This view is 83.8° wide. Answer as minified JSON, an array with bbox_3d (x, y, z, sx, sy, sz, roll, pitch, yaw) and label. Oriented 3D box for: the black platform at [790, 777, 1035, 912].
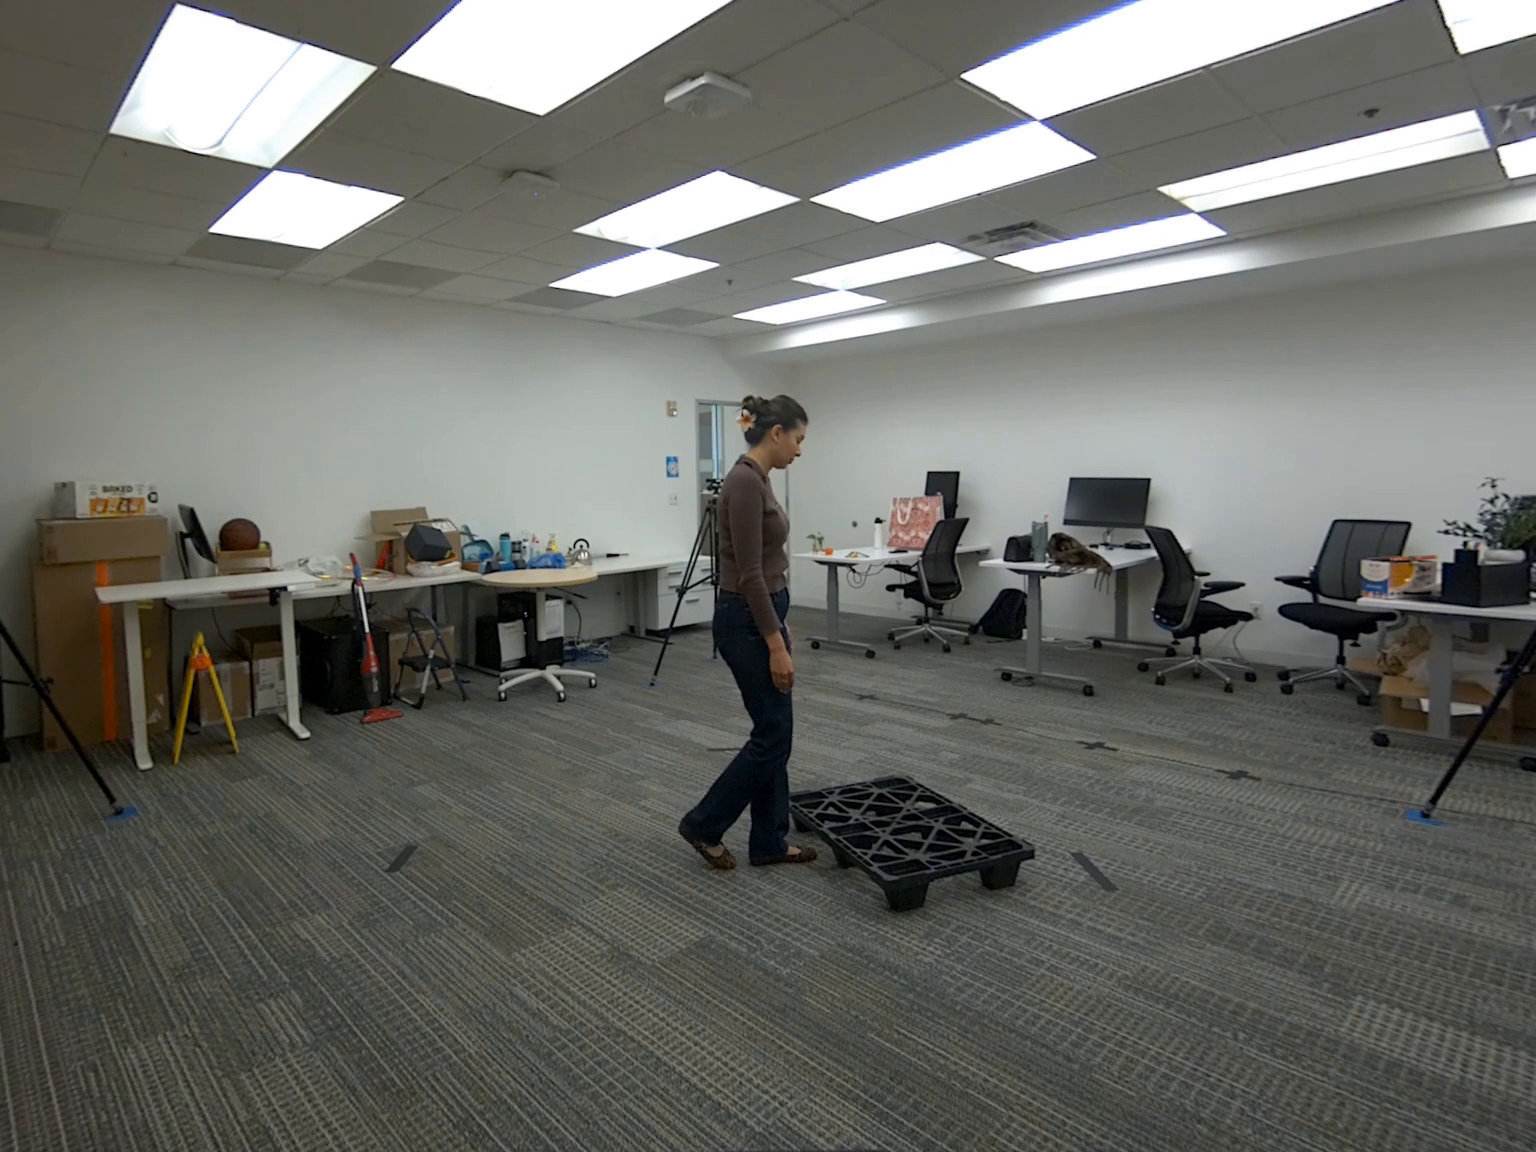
[{"bbox_3d":[0.475,0.964,3.150,0.594,0.142,0.825,-5,7,-23],"label":"black platform"}]
